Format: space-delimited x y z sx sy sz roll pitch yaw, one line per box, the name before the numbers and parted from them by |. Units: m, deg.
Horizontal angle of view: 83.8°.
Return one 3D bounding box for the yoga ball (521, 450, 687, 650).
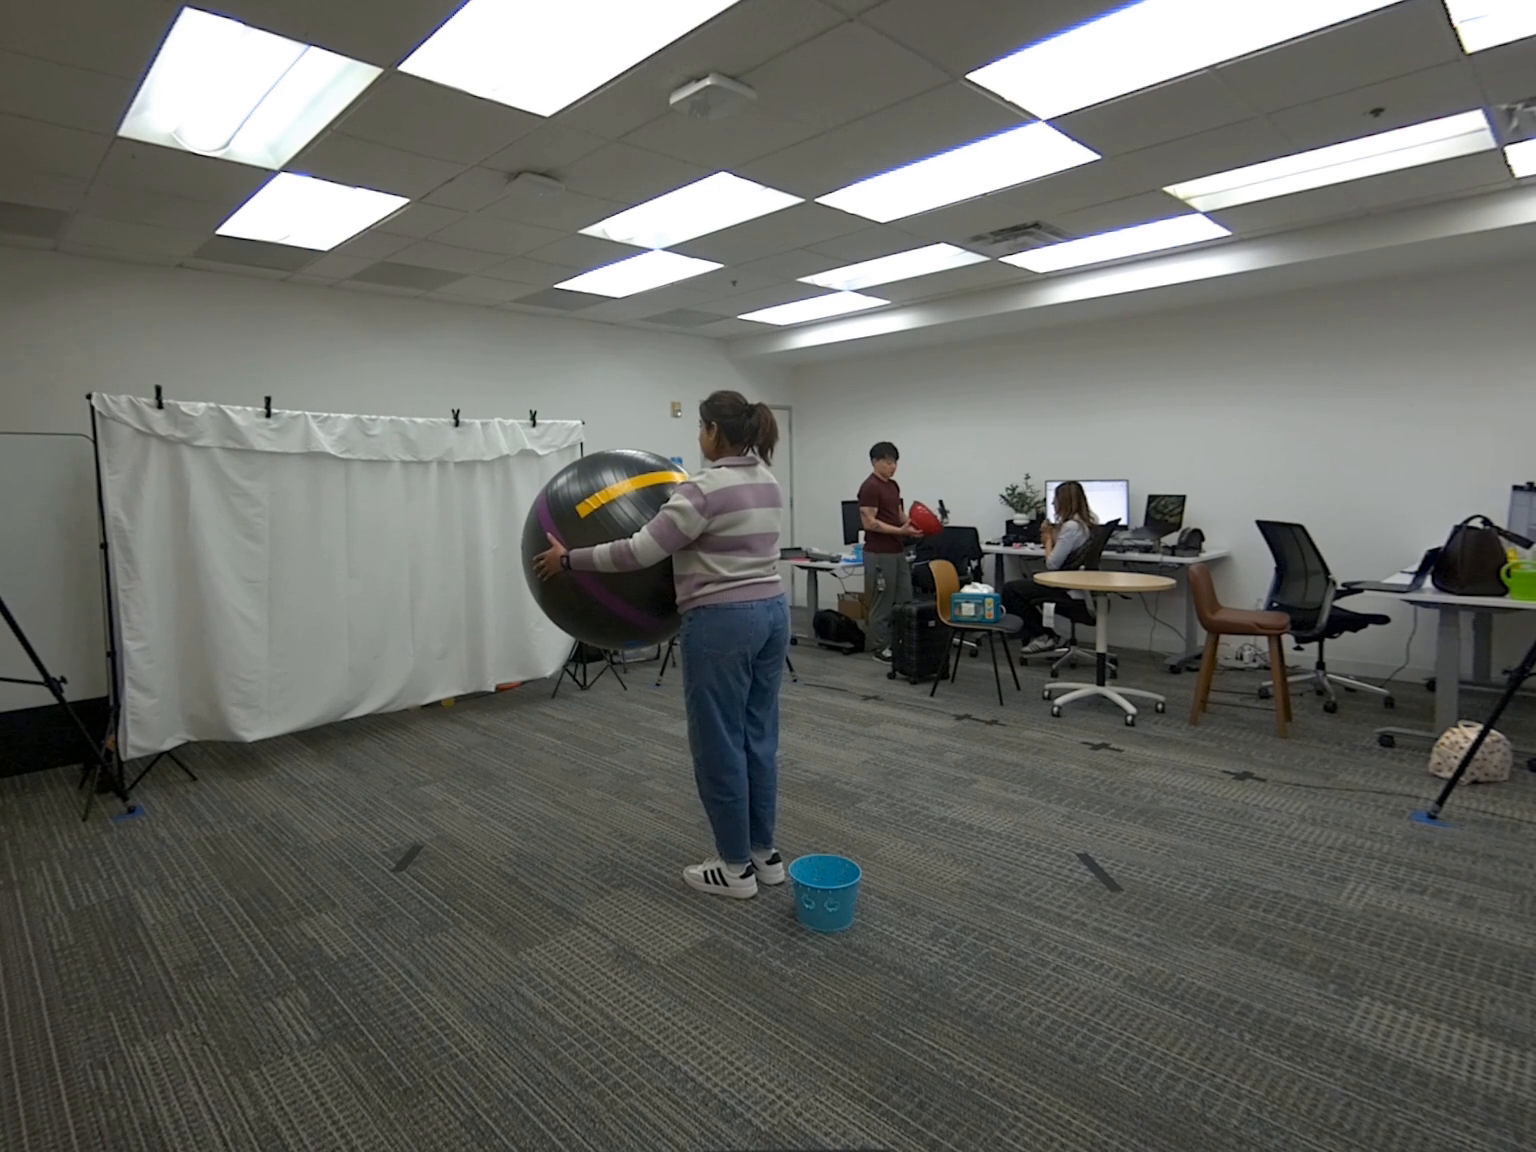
yoga ball | -0.558 -0.095 3.241 0.757 0.755 0.762 -1 5 -2
